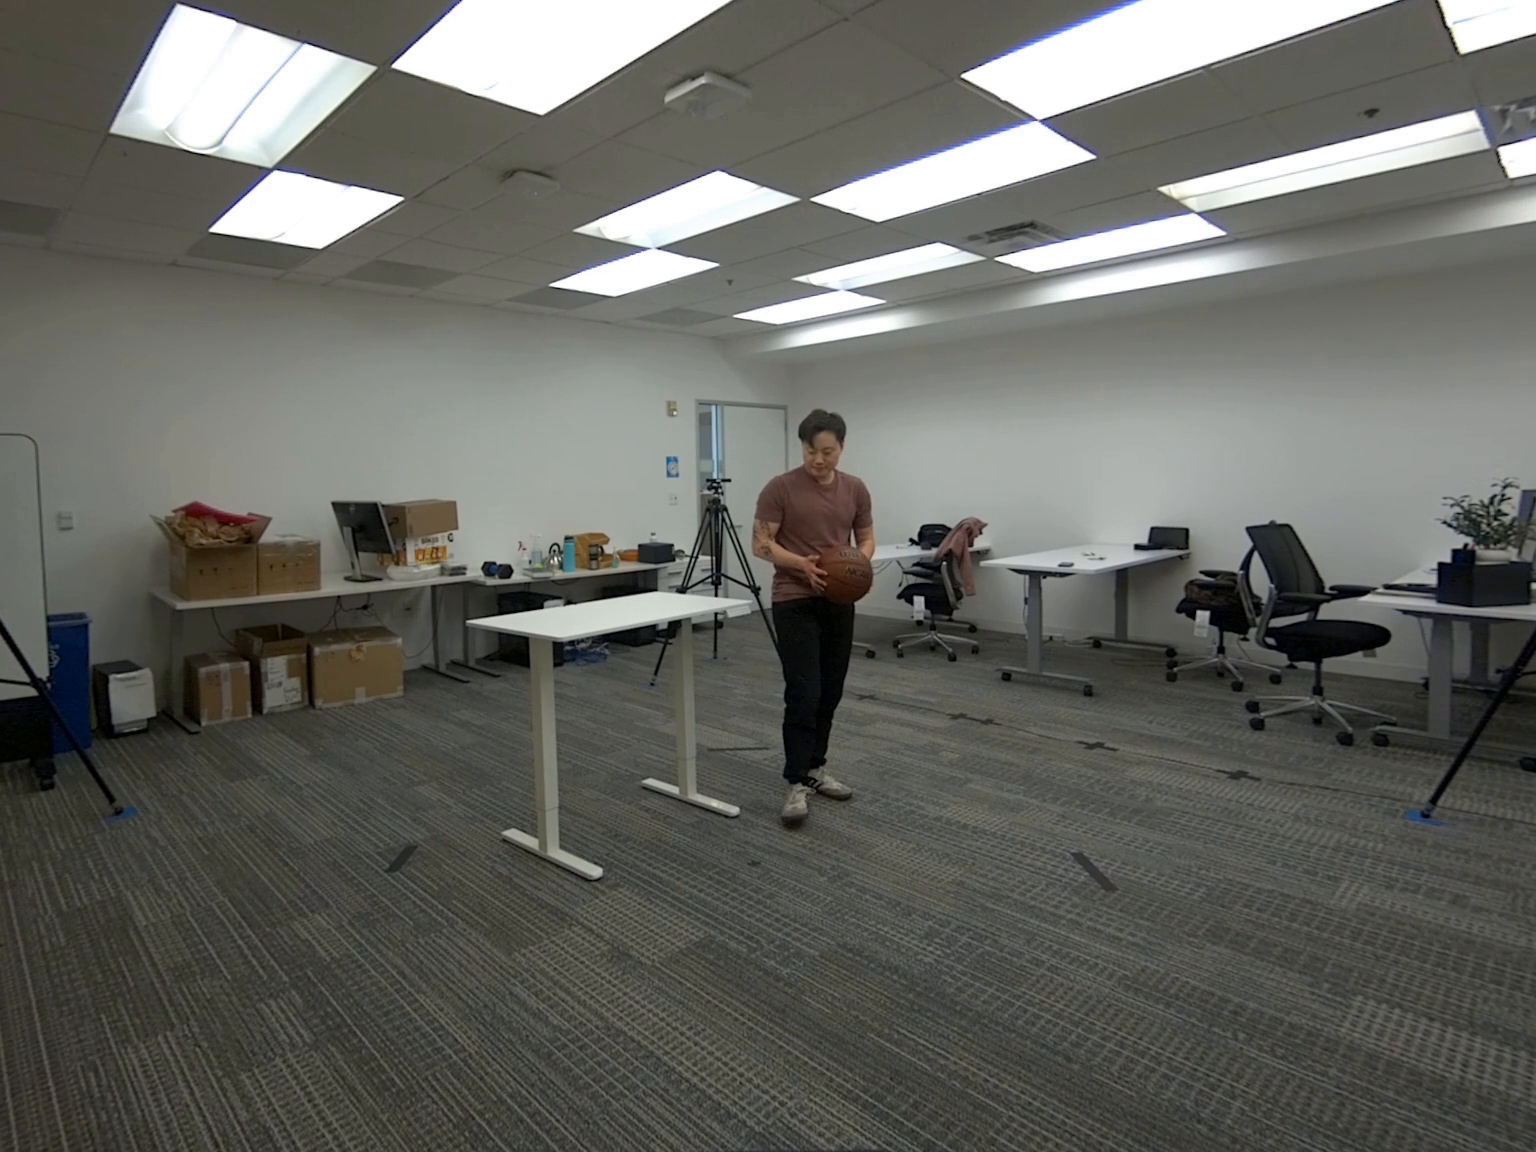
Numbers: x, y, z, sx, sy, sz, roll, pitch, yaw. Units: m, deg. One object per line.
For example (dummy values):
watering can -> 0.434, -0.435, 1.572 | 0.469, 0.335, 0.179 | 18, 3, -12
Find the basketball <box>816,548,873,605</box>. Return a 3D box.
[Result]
basketball -> 0.296, -0.005, 3.445 | 0.236, 0.235, 0.237 | -1, 5, -2
